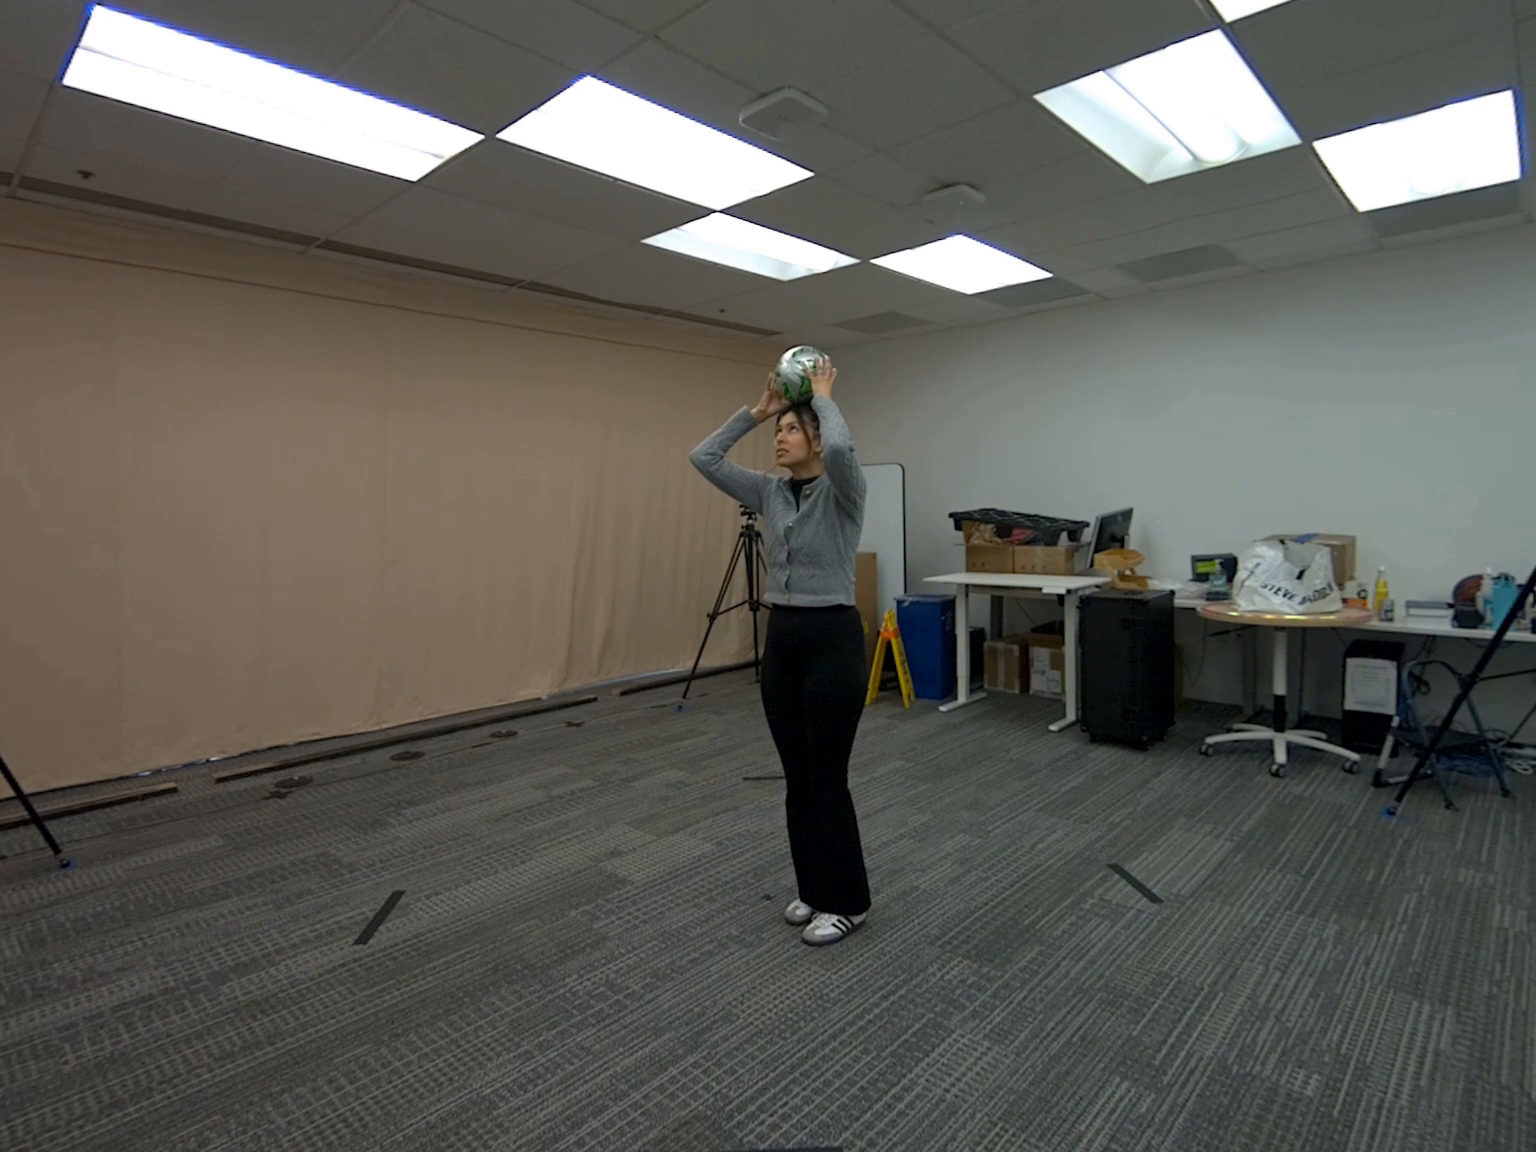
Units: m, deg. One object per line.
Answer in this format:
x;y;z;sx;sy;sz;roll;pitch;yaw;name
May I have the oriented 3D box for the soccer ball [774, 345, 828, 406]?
0.120;-0.644;2.716;0.187;0.187;0.188;-1;4;-2;soccer ball
